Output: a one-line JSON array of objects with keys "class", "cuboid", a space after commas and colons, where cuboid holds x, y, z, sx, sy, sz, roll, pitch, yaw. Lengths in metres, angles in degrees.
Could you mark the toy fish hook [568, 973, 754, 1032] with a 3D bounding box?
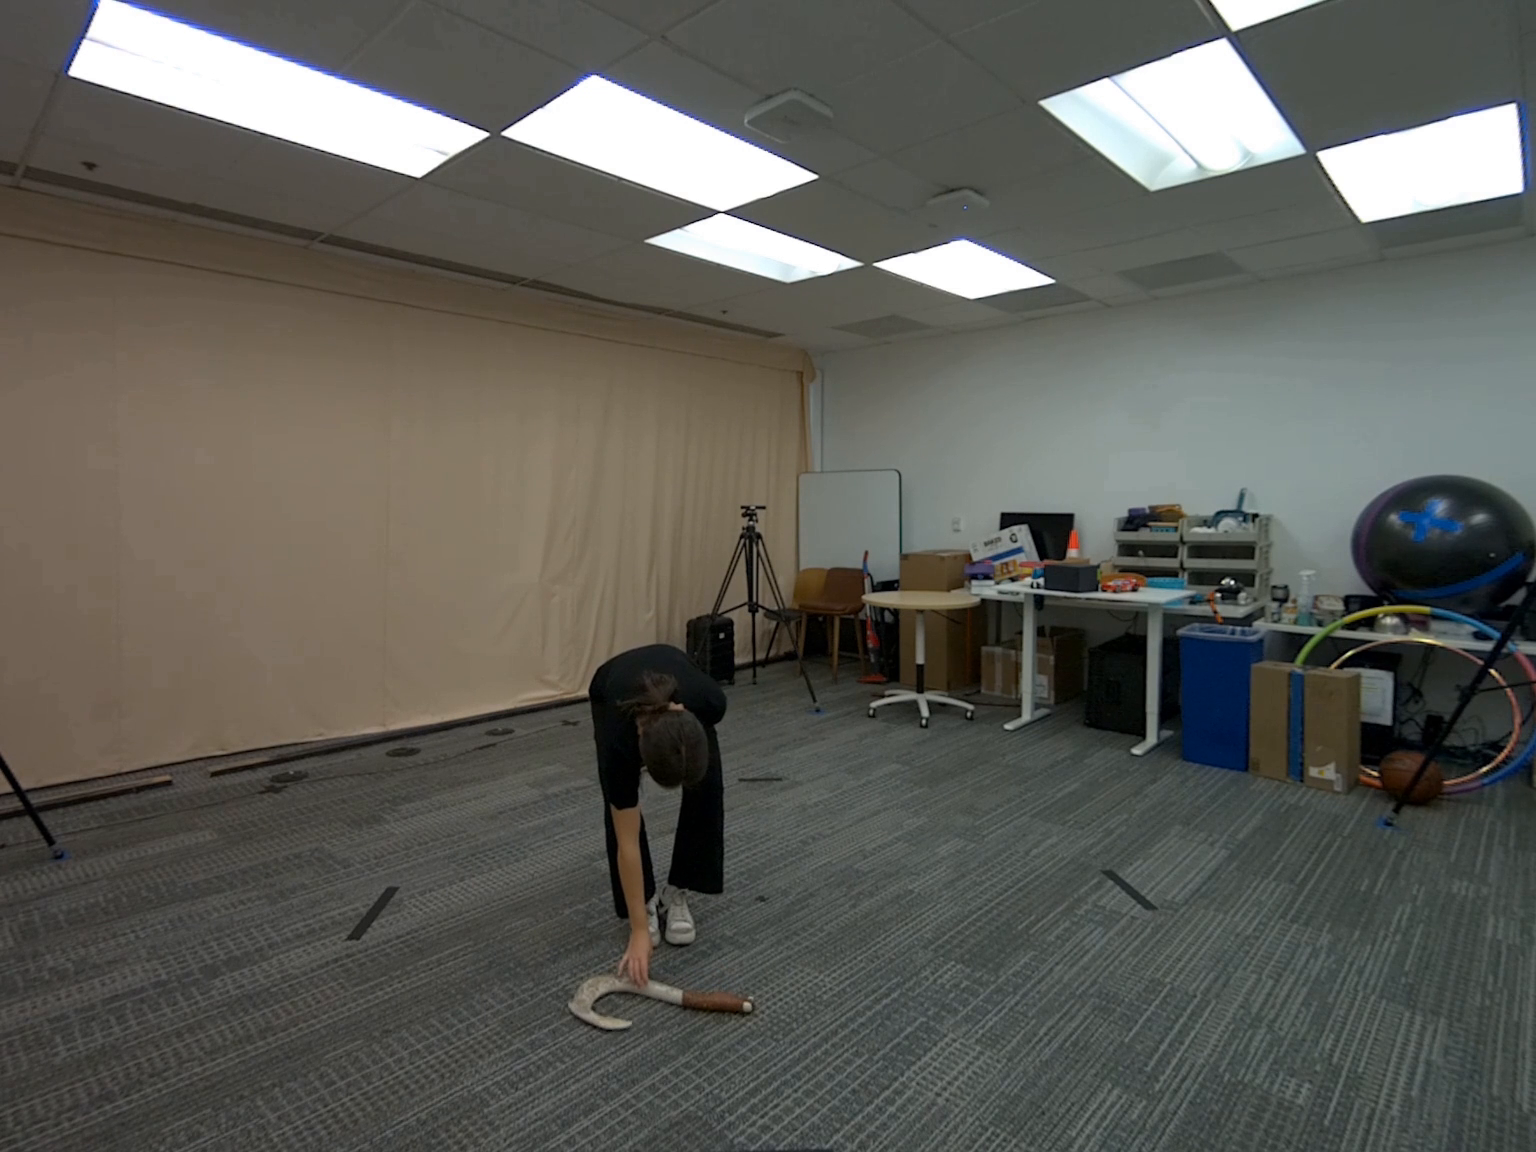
[{"class": "toy fish hook", "cuboid": [-0.286, 1.175, 2.309, 0.513, 0.048, 0.223, 1, 10, 11]}]
